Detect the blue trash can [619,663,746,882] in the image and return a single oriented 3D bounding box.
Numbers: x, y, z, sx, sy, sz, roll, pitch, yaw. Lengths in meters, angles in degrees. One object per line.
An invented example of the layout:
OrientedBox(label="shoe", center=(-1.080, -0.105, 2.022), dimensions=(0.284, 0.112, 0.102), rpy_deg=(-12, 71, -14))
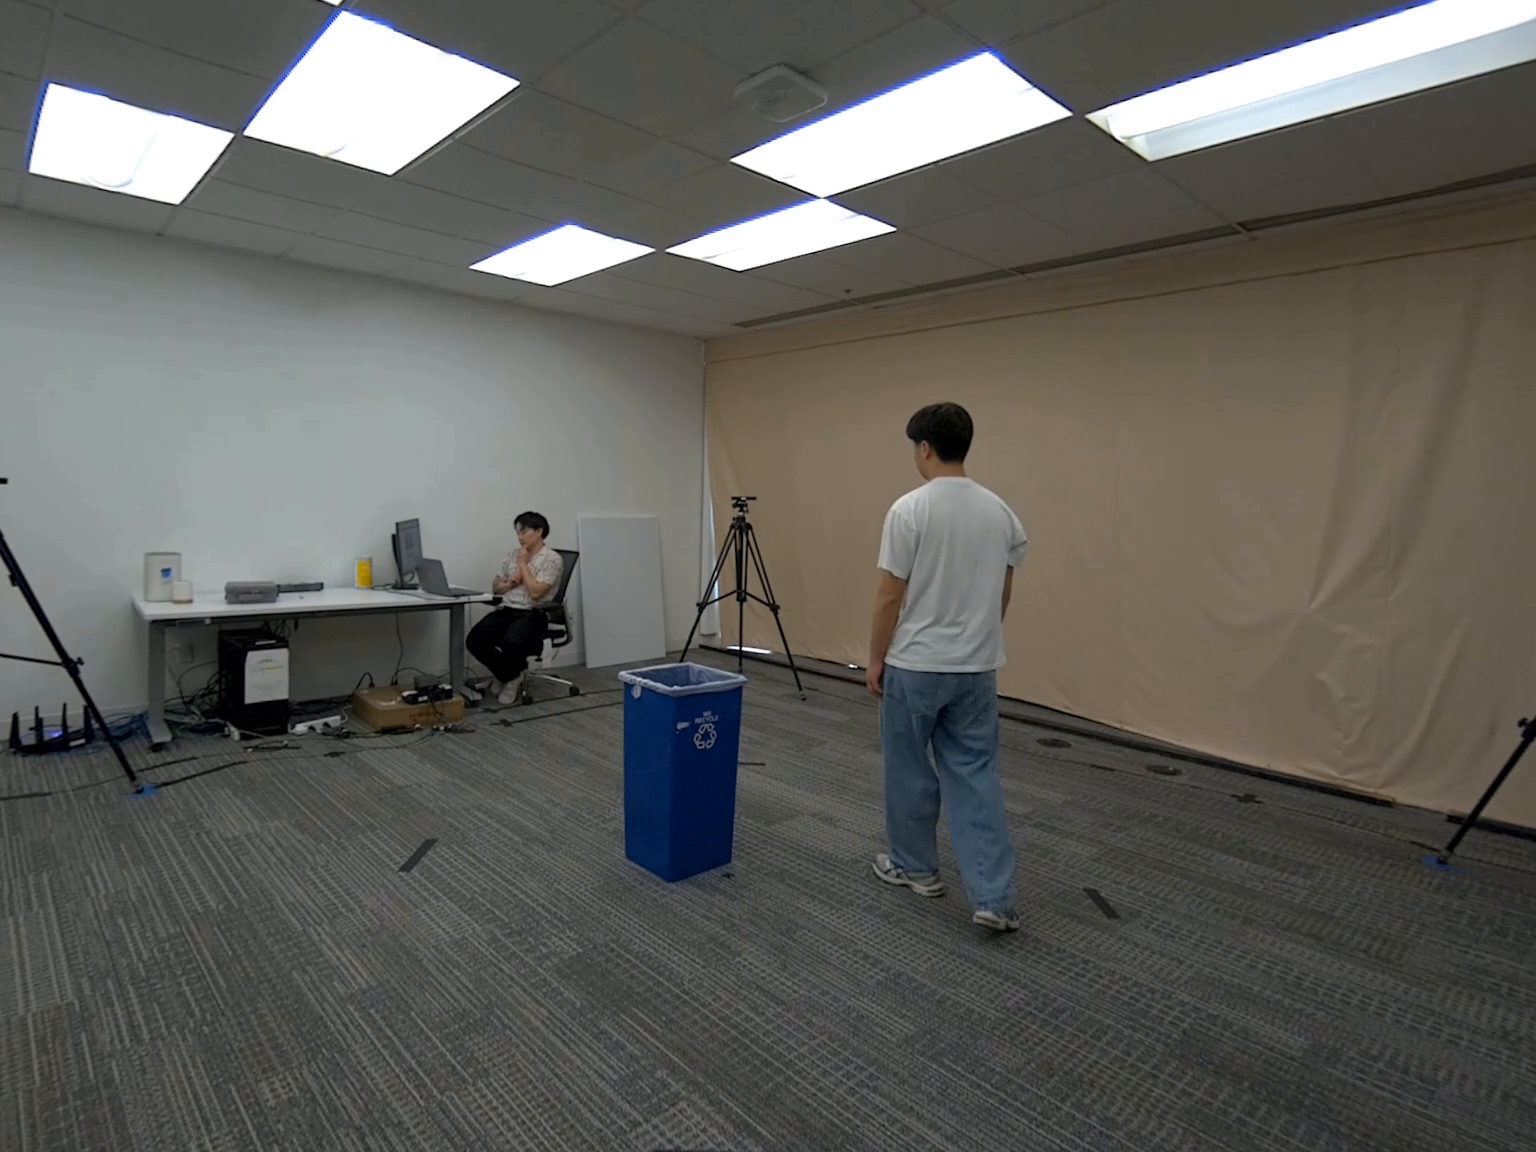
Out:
OrientedBox(label="blue trash can", center=(-0.339, 0.732, 3.229), dimensions=(0.365, 0.712, 0.388), rpy_deg=(-2, 5, -43))
